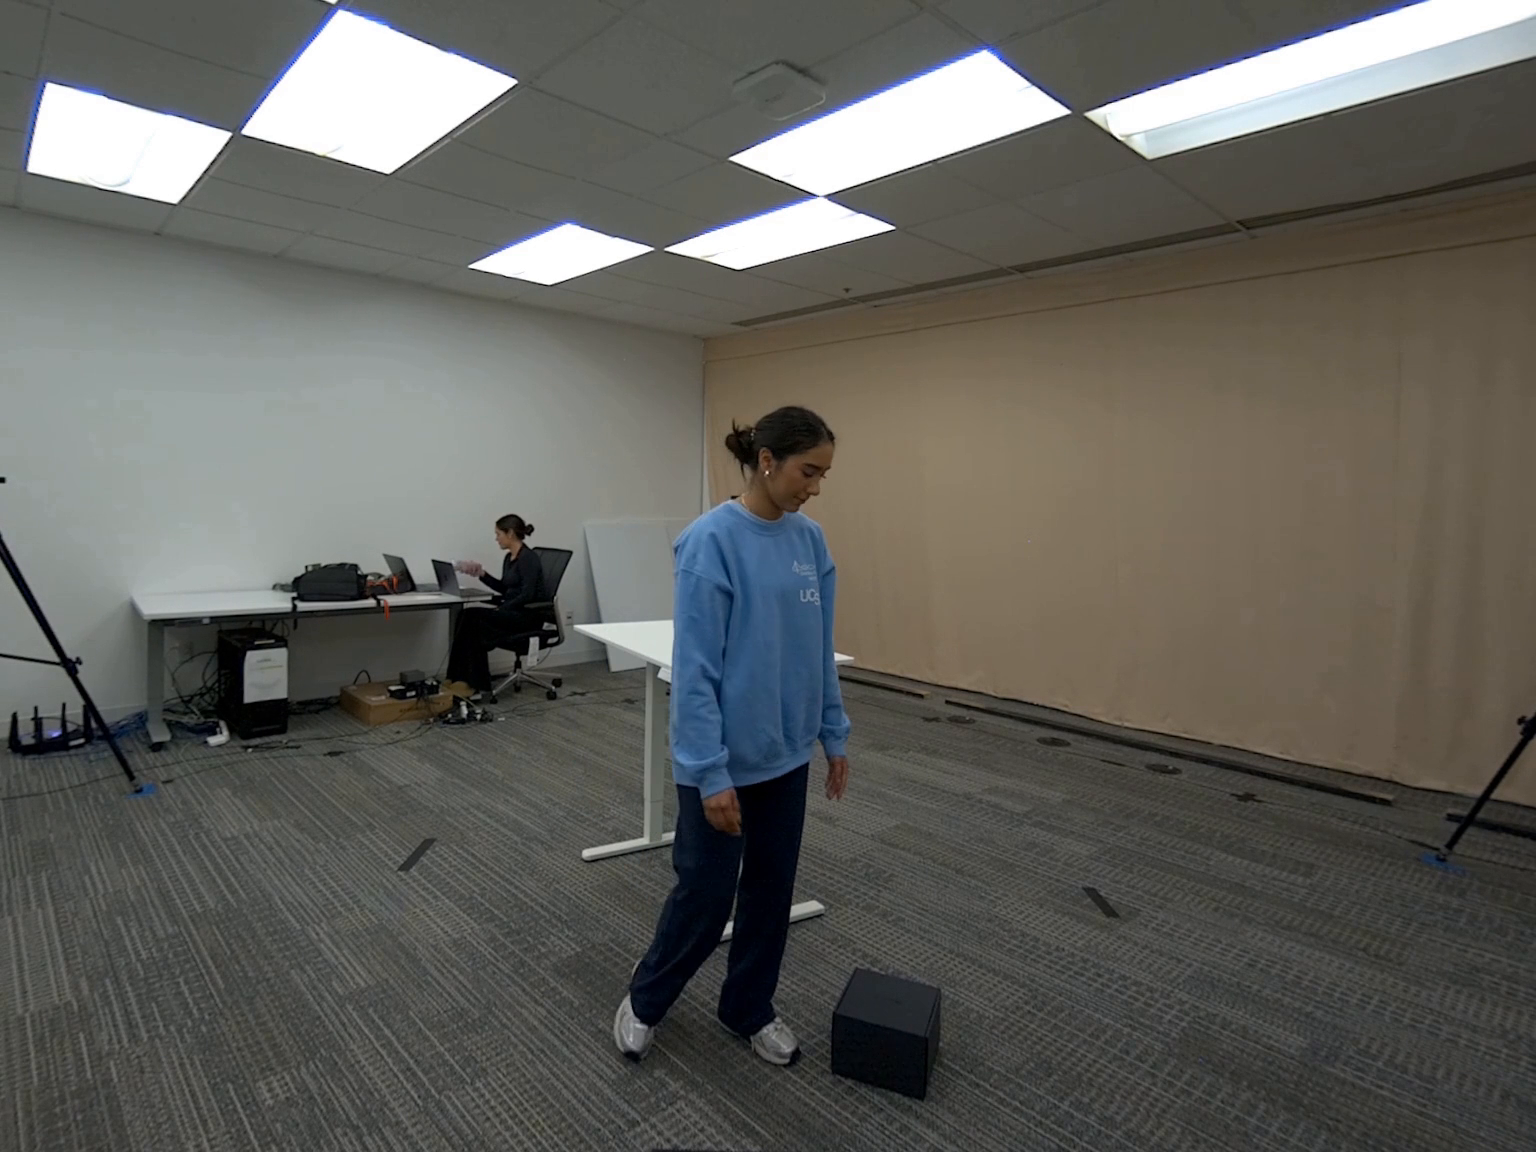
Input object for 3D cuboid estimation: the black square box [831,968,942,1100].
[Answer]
[{"bbox_3d":[0.294,1.128,2.088,0.232,0.155,0.214,3,5,21],"label":"black square box"}]
